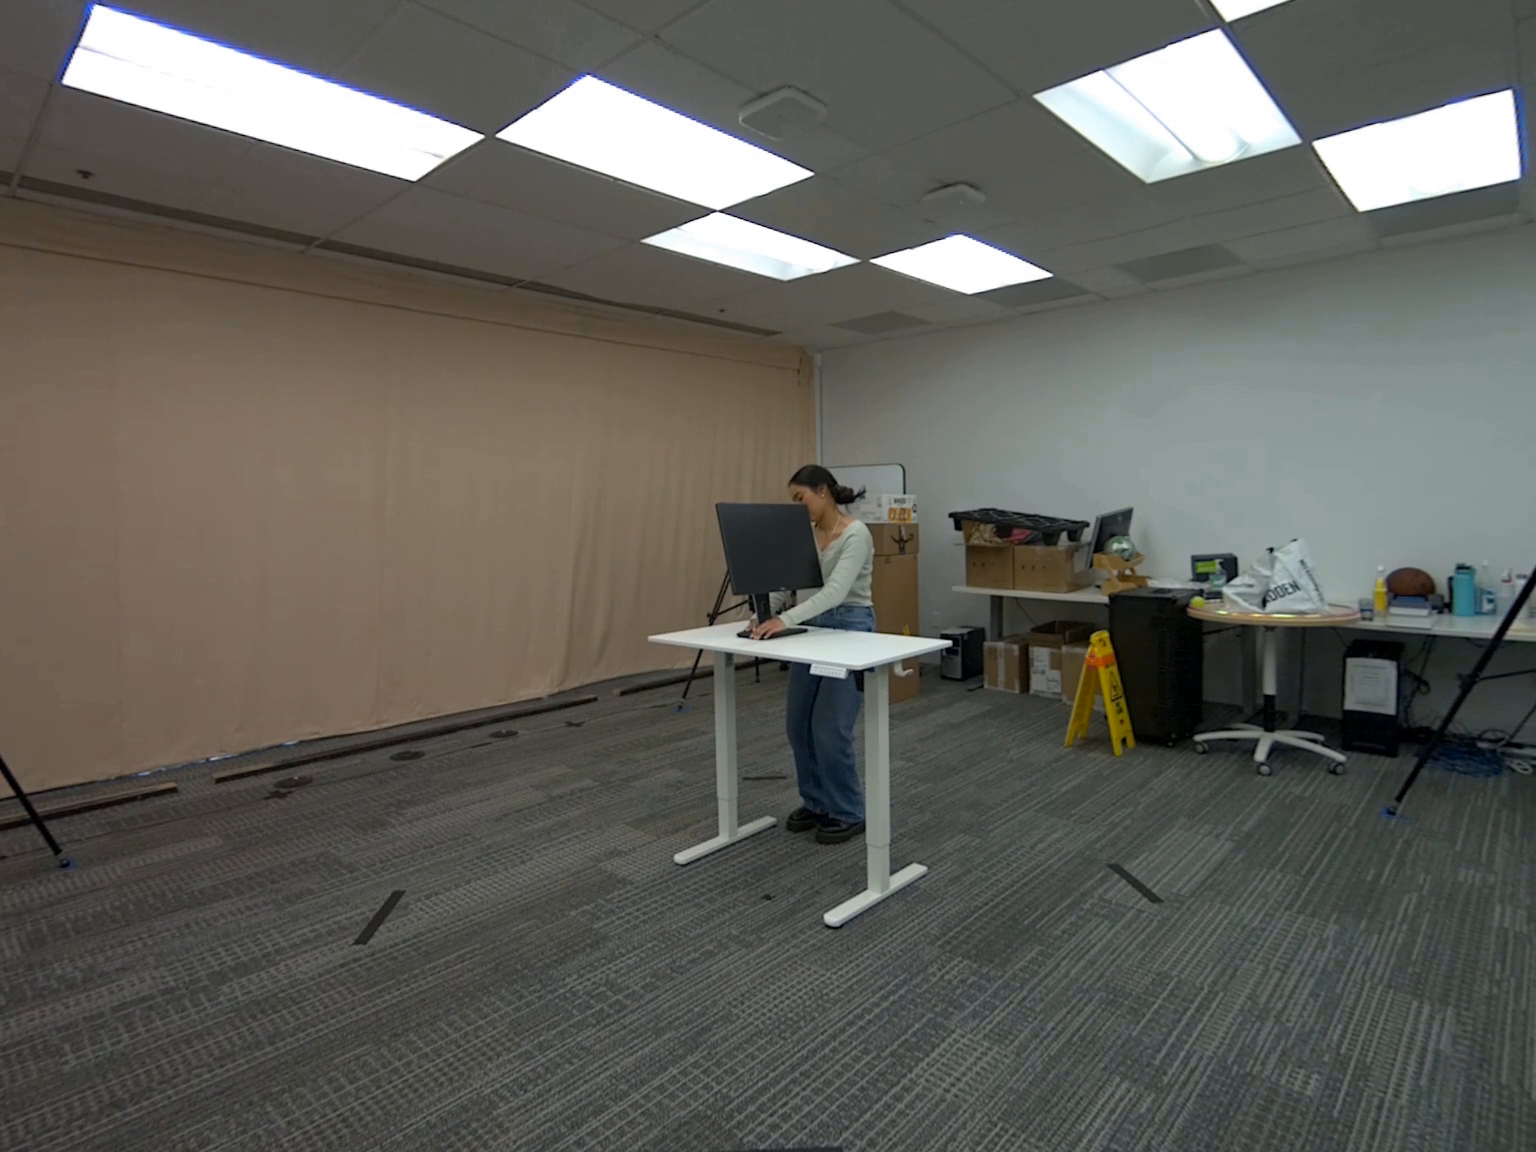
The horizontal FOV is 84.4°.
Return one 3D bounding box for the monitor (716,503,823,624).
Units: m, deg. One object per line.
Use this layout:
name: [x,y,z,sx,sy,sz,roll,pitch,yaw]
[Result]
monitor: [0.003,-0.028,3.305,0.180,0.515,0.513,5,5,42]
